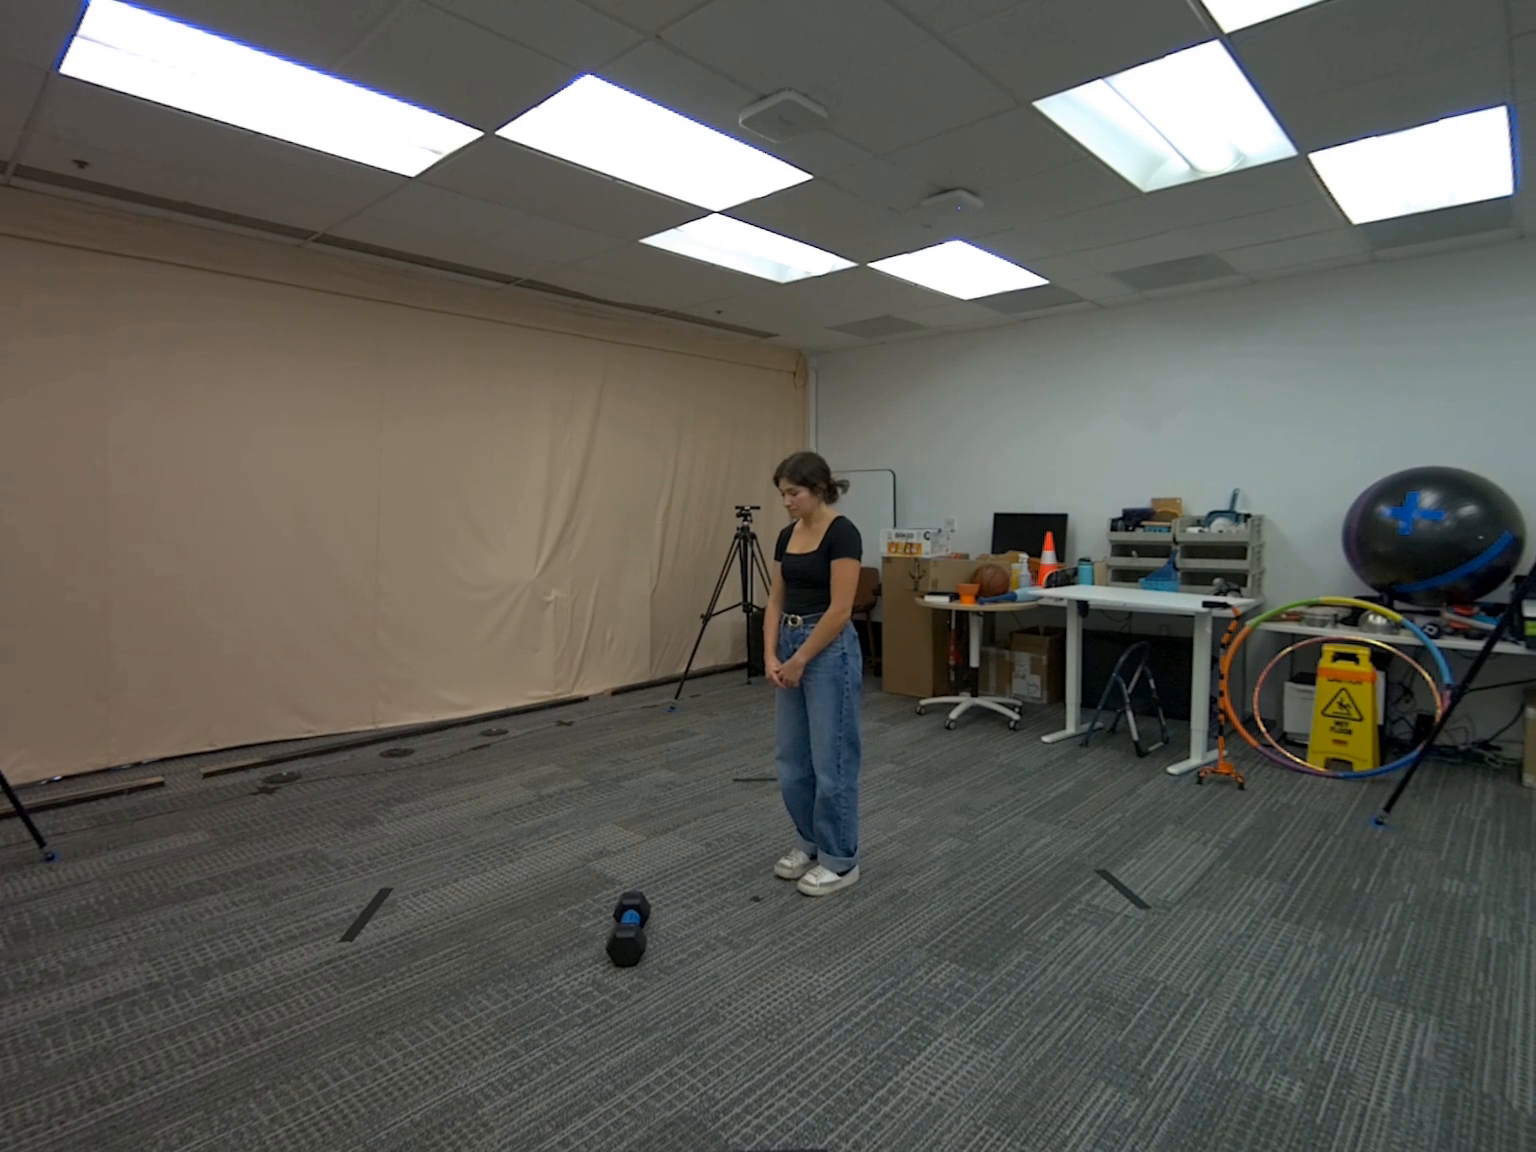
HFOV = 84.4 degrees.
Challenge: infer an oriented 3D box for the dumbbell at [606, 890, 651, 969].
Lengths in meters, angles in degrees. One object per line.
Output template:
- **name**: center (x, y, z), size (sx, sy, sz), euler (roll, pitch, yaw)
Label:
- **dumbbell**: center (-0.441, 1.121, 2.677), size (0.108, 0.123, 0.295), euler (31, 1, -6)
